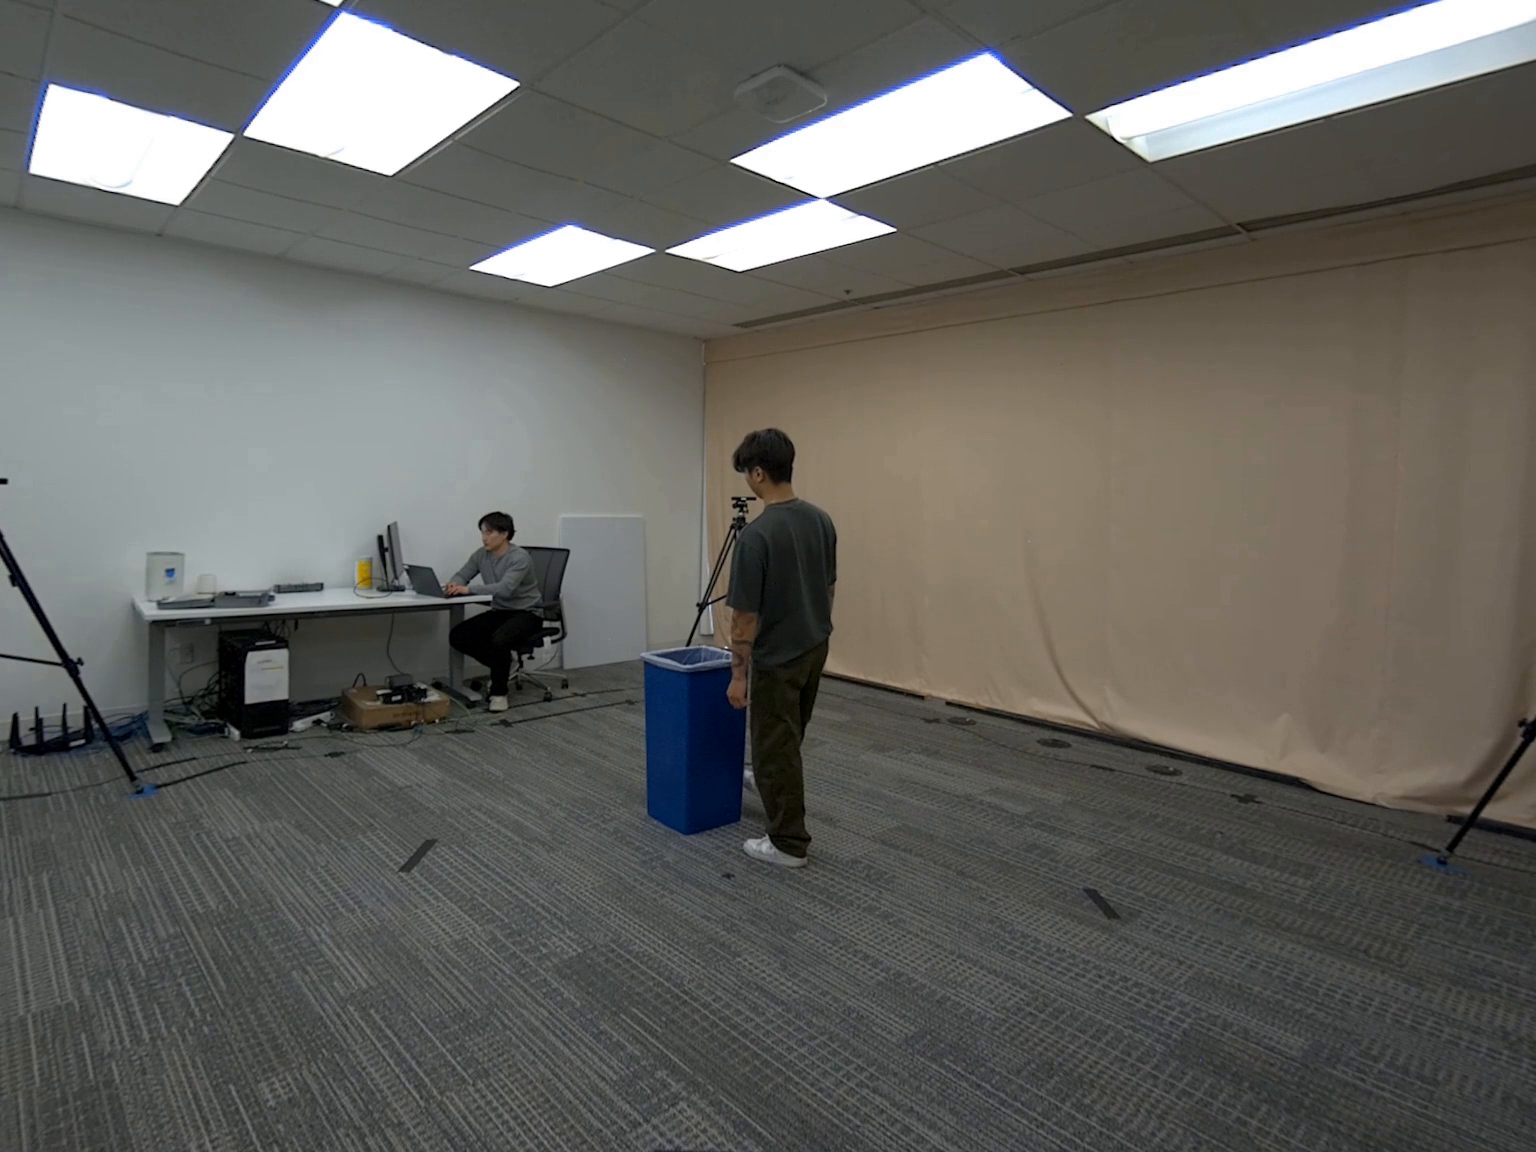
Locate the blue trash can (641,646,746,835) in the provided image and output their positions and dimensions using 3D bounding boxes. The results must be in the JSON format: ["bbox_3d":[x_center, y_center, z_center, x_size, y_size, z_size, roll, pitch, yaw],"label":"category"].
[{"bbox_3d":[-0.319,0.696,3.655,0.369,0.712,0.383,-2,4,-42],"label":"blue trash can"}]
